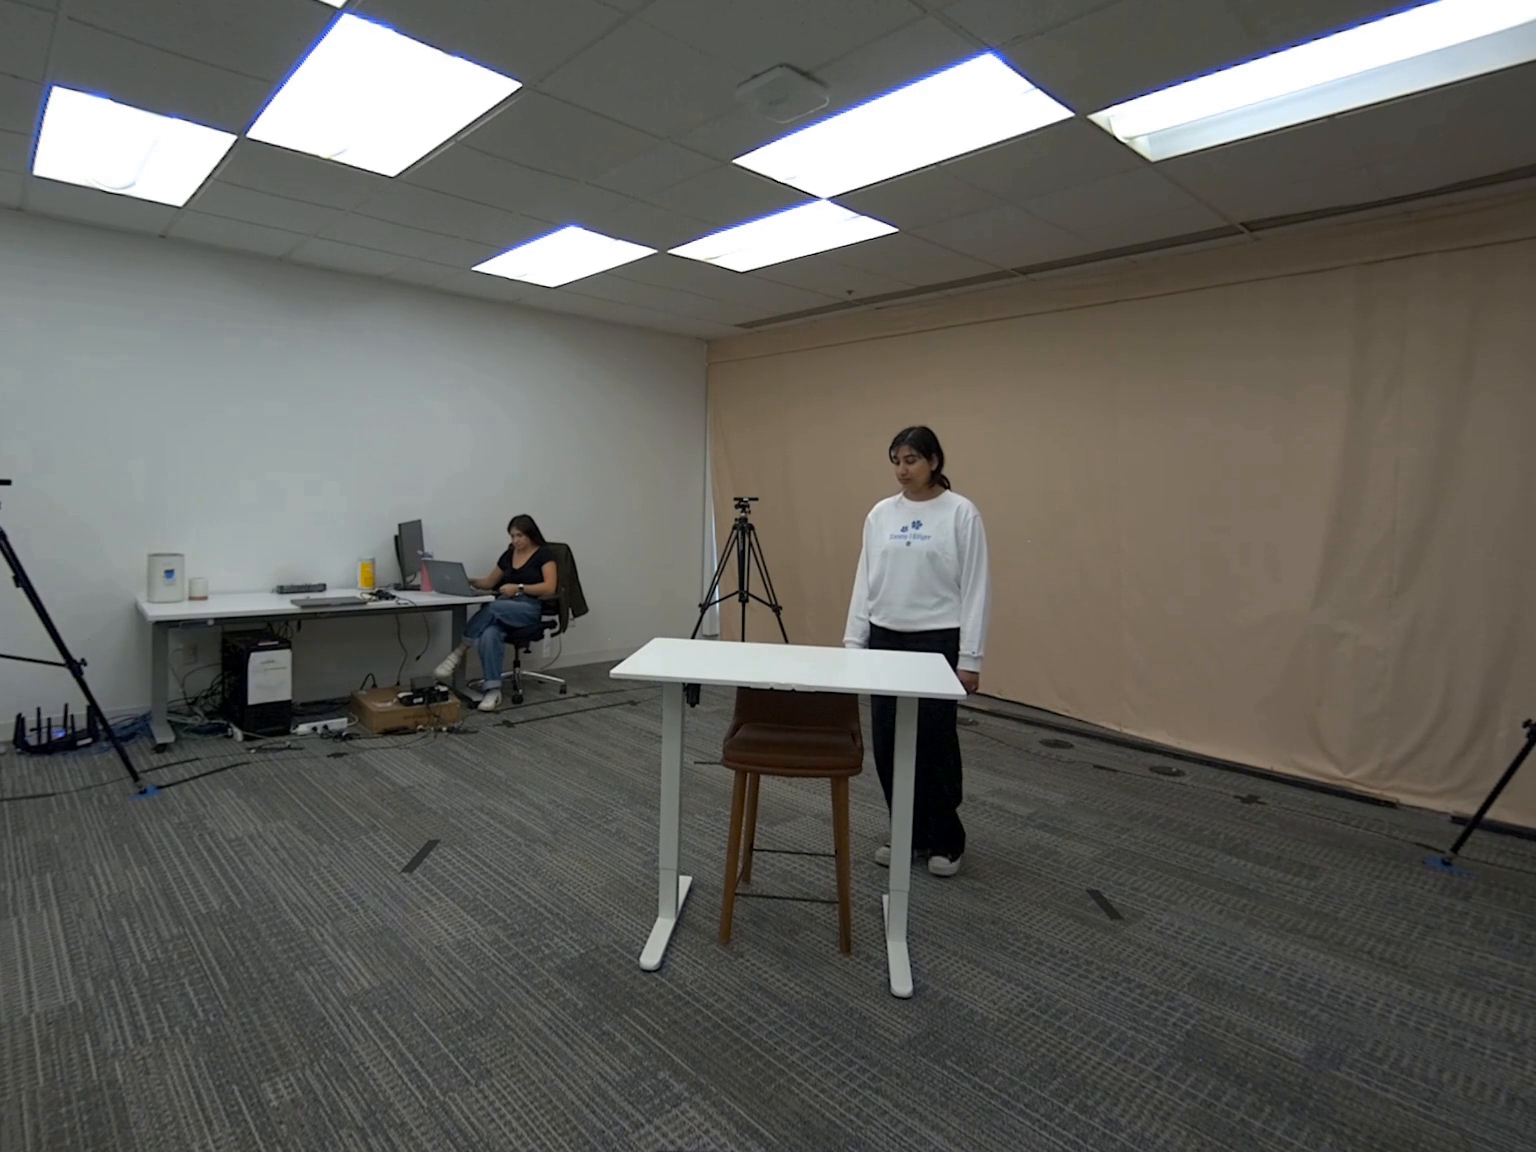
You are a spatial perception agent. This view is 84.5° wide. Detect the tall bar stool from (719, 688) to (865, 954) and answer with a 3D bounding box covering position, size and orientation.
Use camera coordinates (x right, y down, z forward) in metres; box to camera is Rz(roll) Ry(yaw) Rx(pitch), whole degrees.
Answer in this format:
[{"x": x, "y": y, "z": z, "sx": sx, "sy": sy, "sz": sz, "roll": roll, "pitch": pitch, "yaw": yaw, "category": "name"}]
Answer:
[{"x": 0.088, "y": 0.713, "z": 2.804, "sx": 0.460, "sy": 0.888, "sz": 0.465, "roll": 2, "pitch": 3, "yaw": 8, "category": "tall bar stool"}]
